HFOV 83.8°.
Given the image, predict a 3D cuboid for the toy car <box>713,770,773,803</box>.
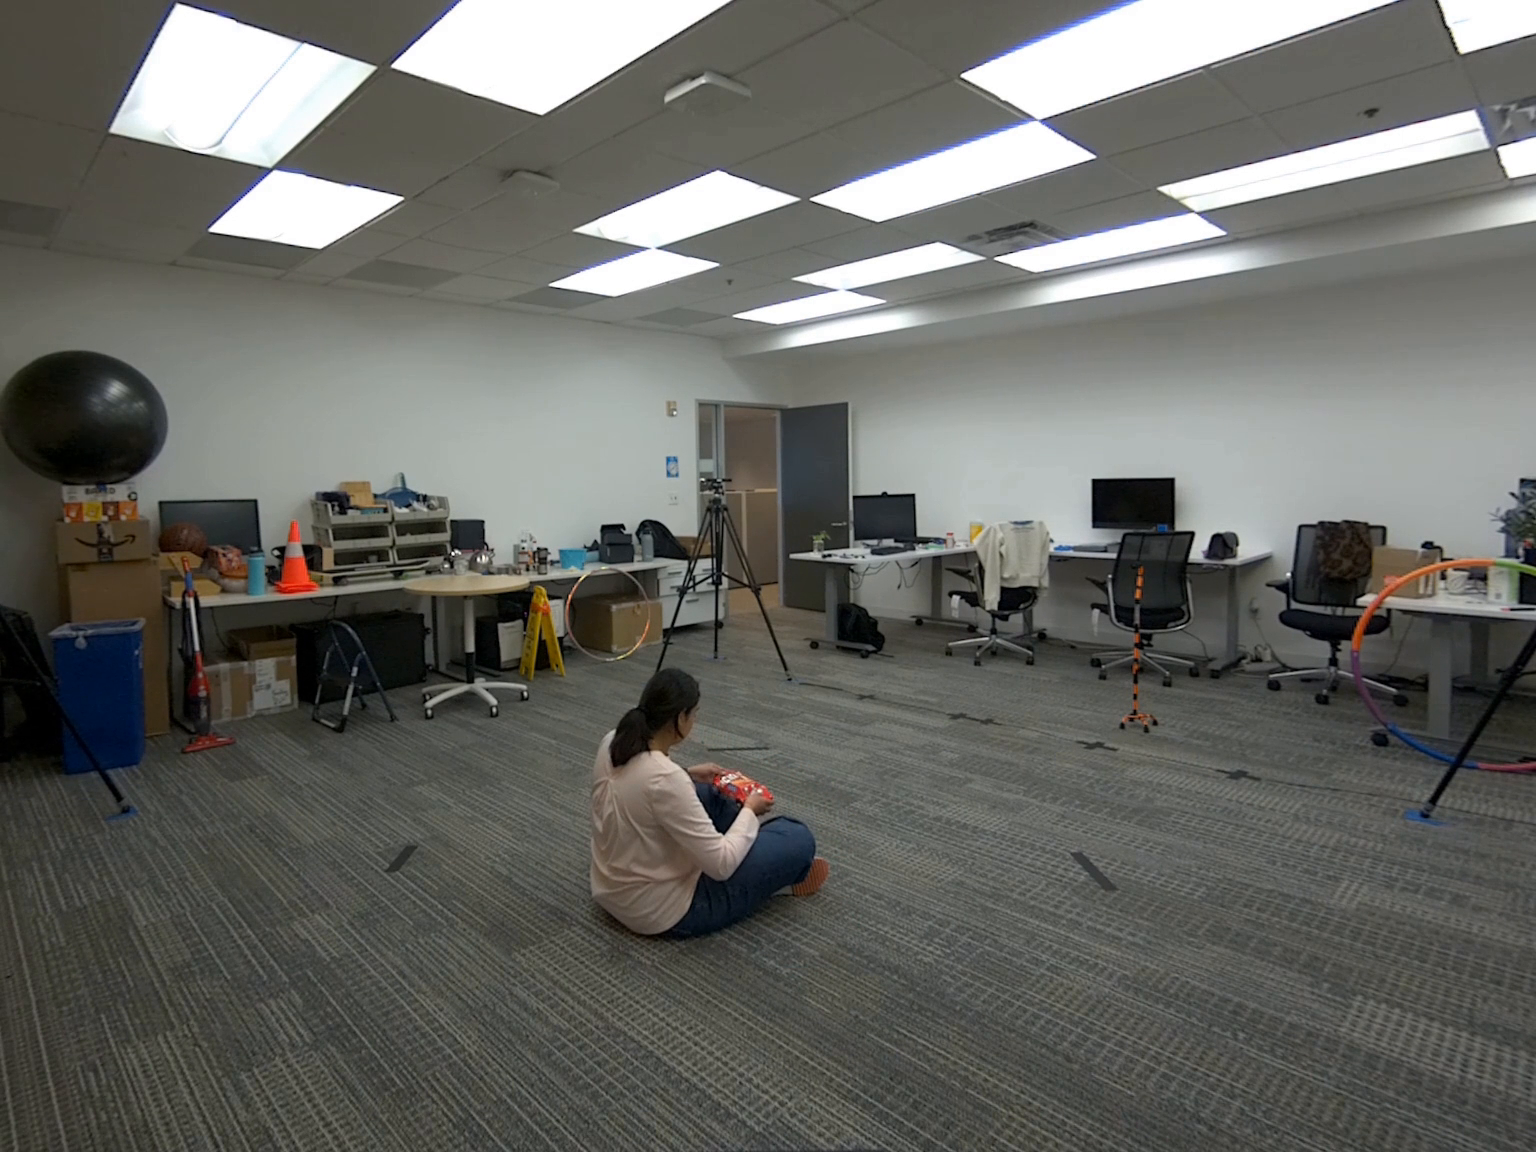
[{"bbox_3d":[-0.085,0.750,2.980,0.128,0.082,0.261,-18,12,-33],"label":"toy car"}]
